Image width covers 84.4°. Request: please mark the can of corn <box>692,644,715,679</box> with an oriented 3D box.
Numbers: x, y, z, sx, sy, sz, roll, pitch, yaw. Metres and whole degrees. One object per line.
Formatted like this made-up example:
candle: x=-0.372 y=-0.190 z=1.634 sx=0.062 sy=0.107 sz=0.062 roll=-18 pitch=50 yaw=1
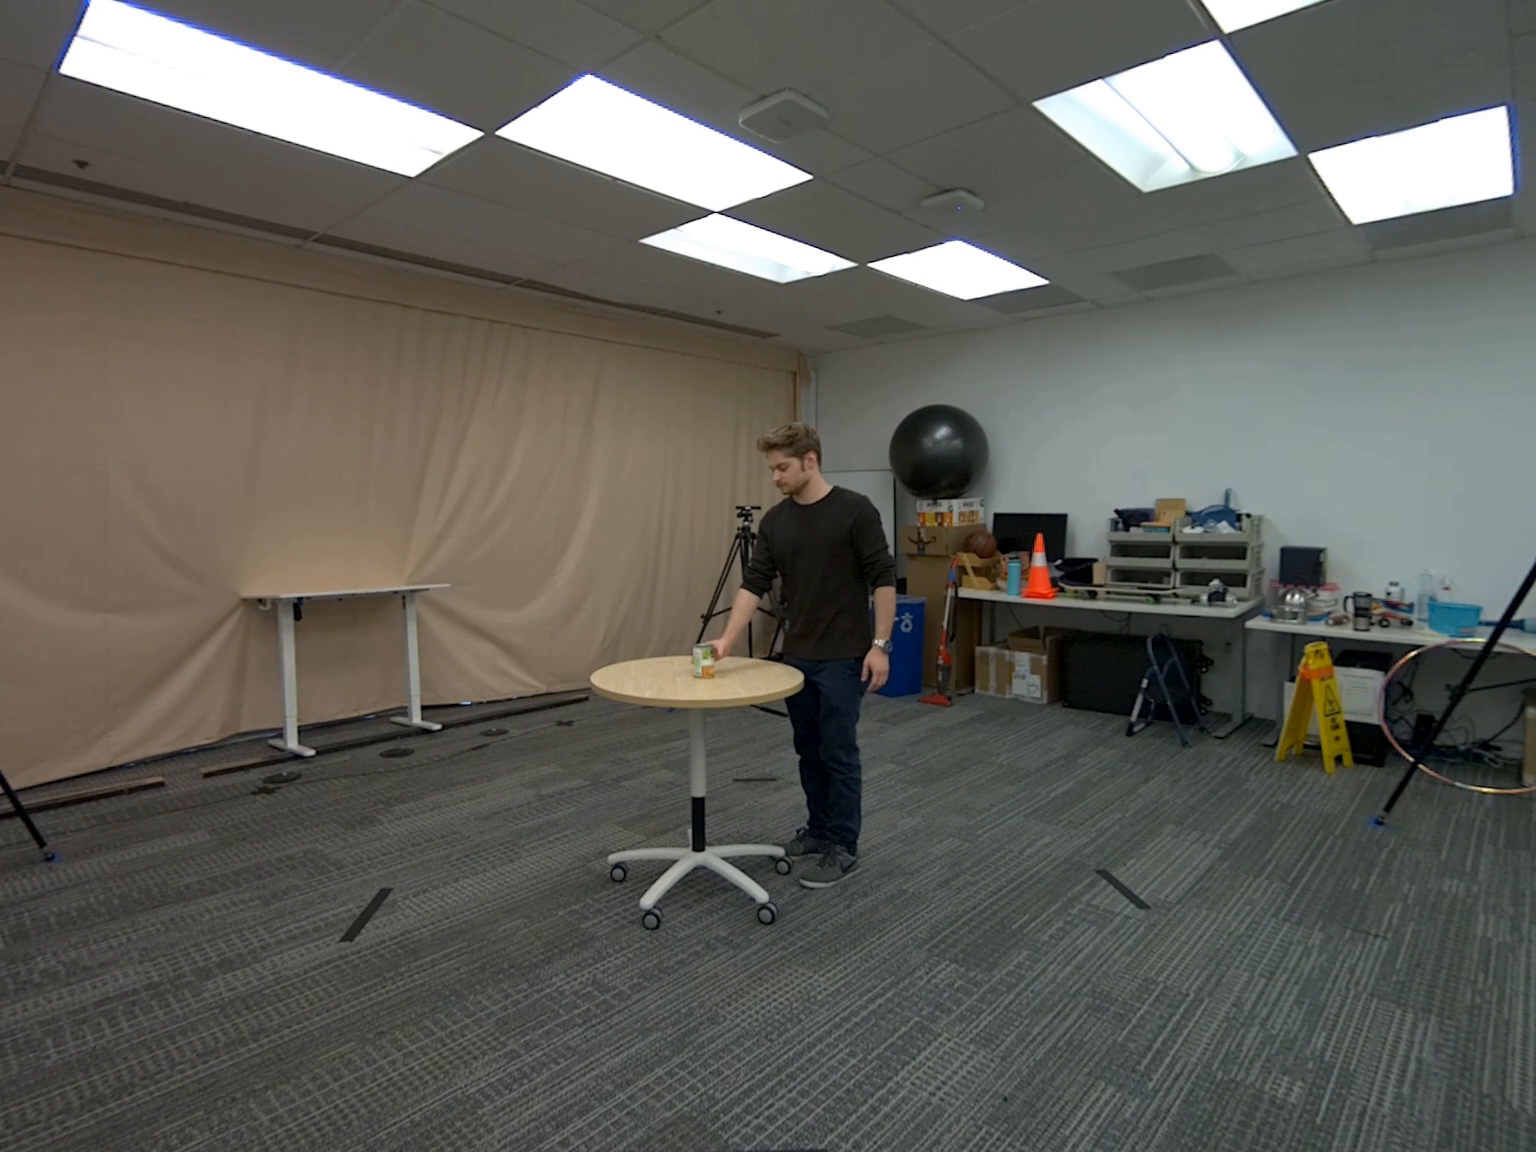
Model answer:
can of corn: x=-0.231 y=0.305 z=3.013 sx=0.074 sy=0.111 sz=0.074 roll=0 pitch=1 yaw=-2
